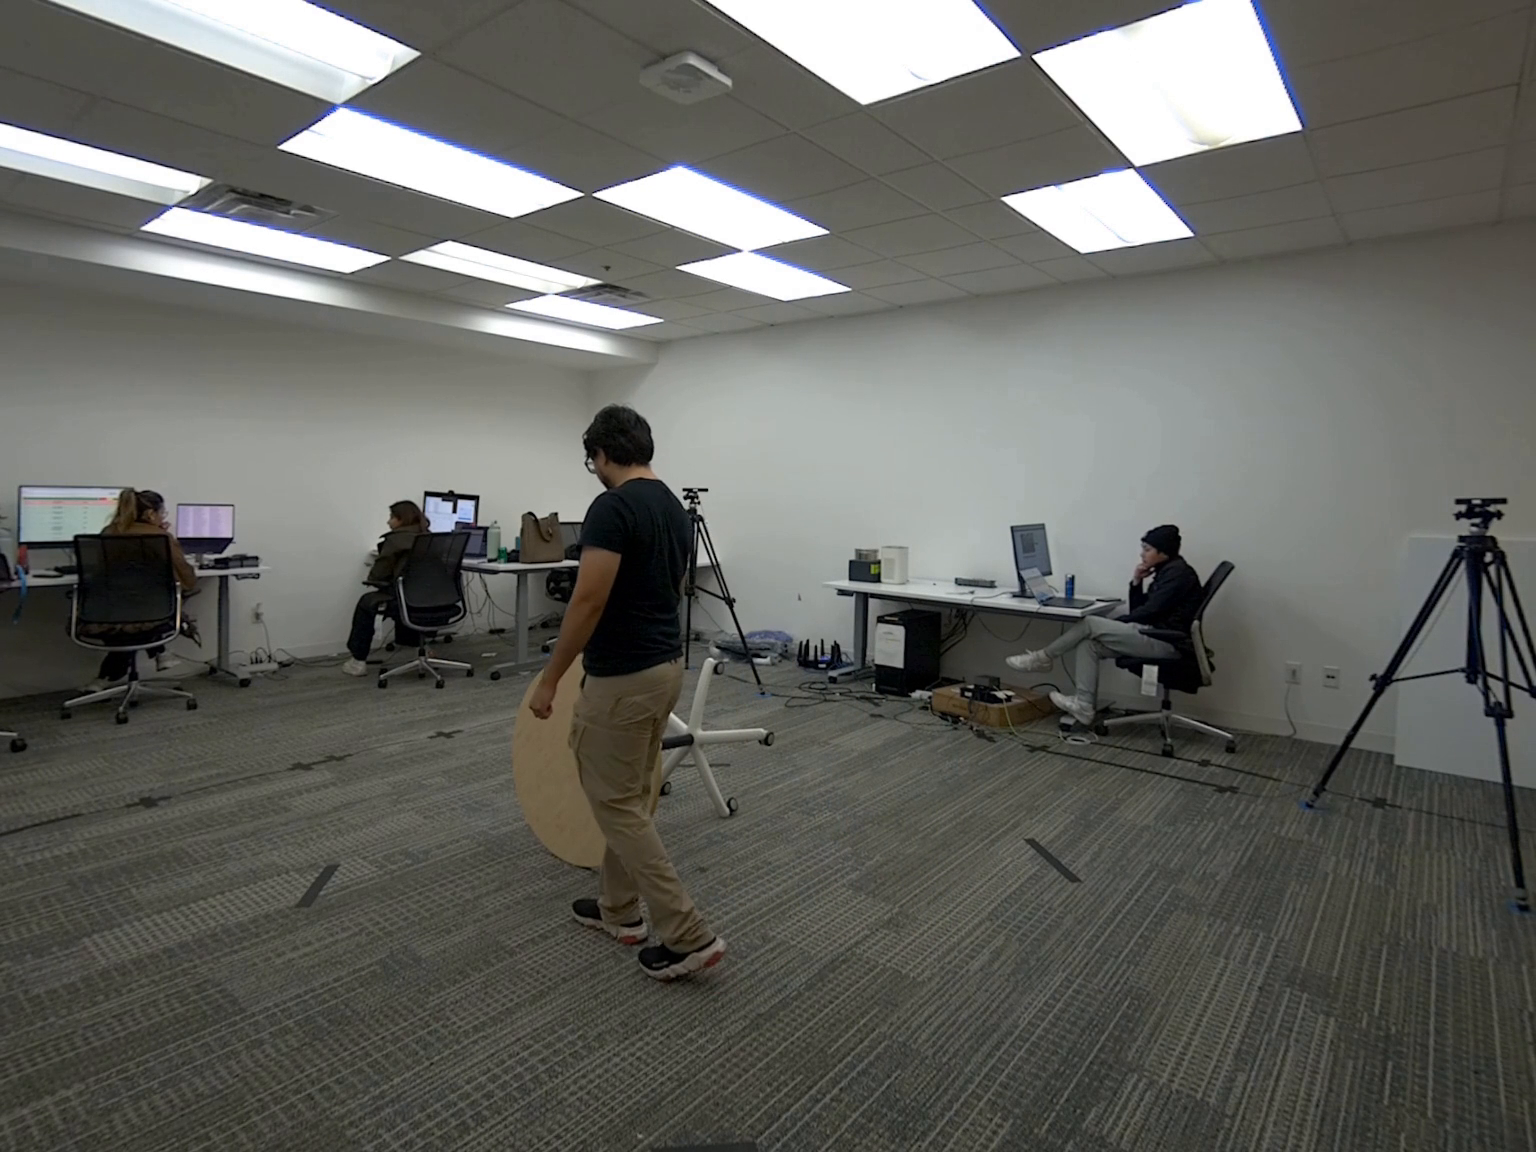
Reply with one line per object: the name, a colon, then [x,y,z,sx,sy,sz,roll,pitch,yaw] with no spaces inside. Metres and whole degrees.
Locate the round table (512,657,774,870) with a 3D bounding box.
round table: [-0.490,0.699,3.468,0.811,0.787,0.760,4,-2,36]
